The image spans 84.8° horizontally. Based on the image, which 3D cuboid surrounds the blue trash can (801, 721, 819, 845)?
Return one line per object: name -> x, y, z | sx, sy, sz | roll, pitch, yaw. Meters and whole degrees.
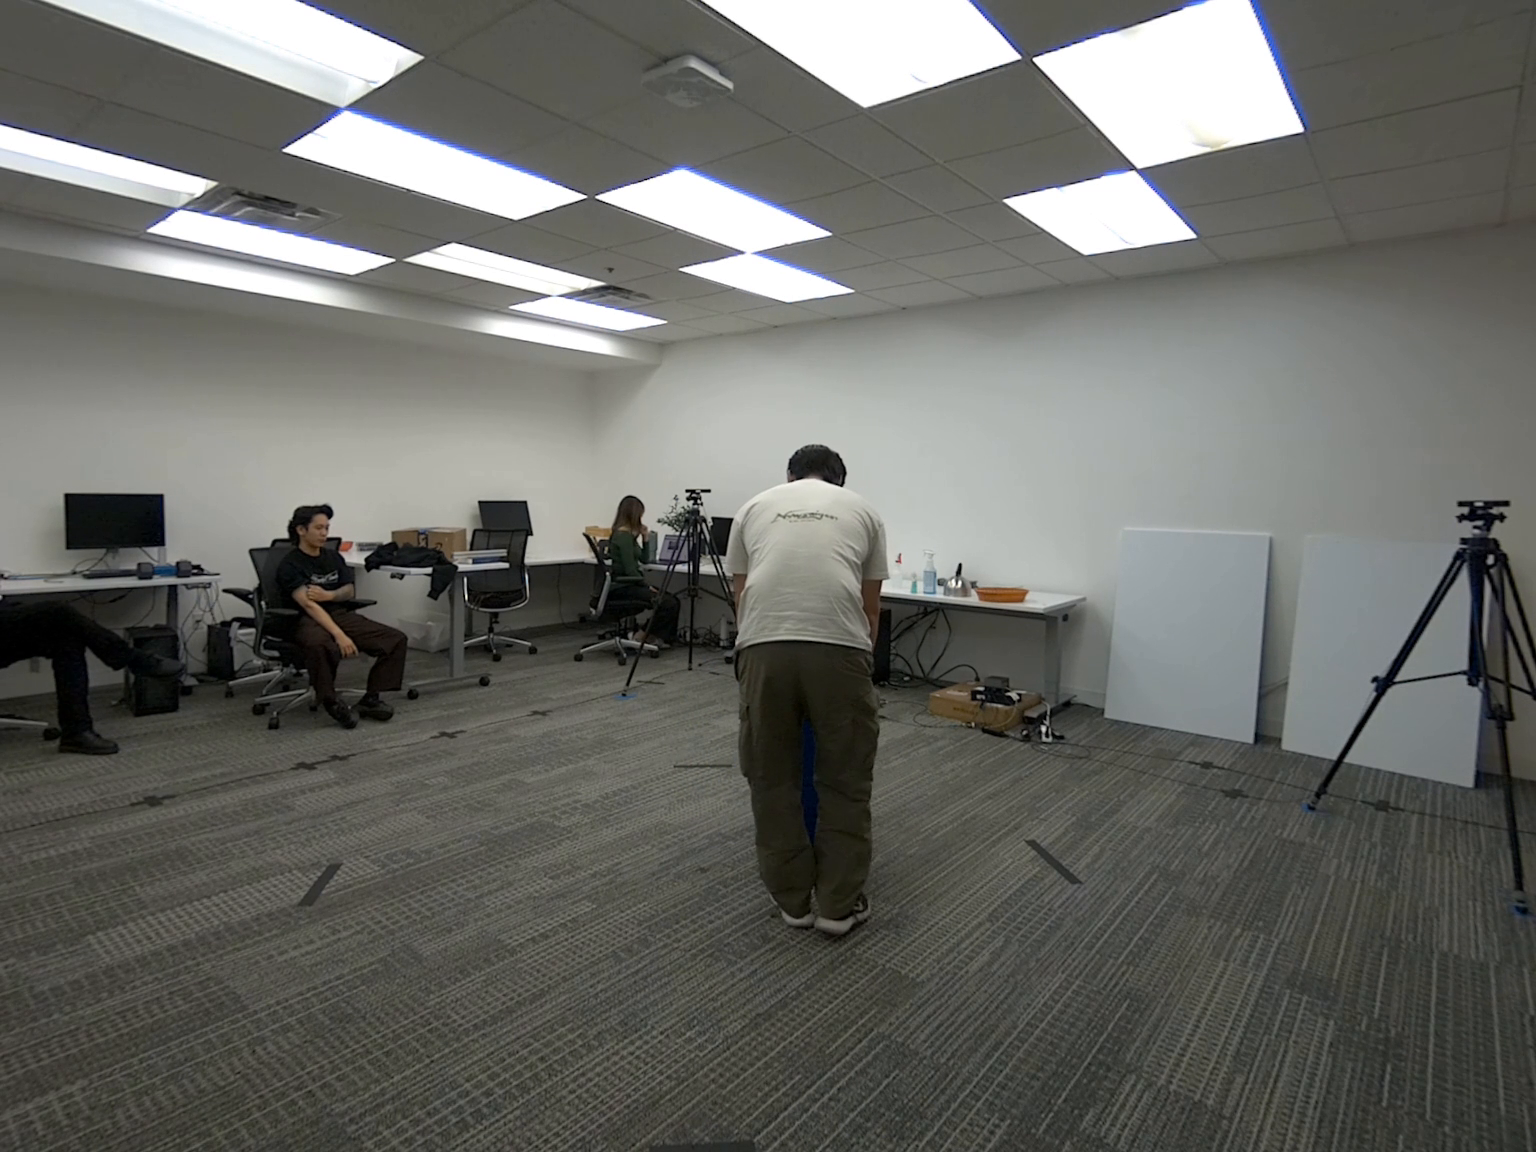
blue trash can -> 0.123, 0.671, 3.304 | 0.381, 0.697, 0.380 | 3, 28, 5
